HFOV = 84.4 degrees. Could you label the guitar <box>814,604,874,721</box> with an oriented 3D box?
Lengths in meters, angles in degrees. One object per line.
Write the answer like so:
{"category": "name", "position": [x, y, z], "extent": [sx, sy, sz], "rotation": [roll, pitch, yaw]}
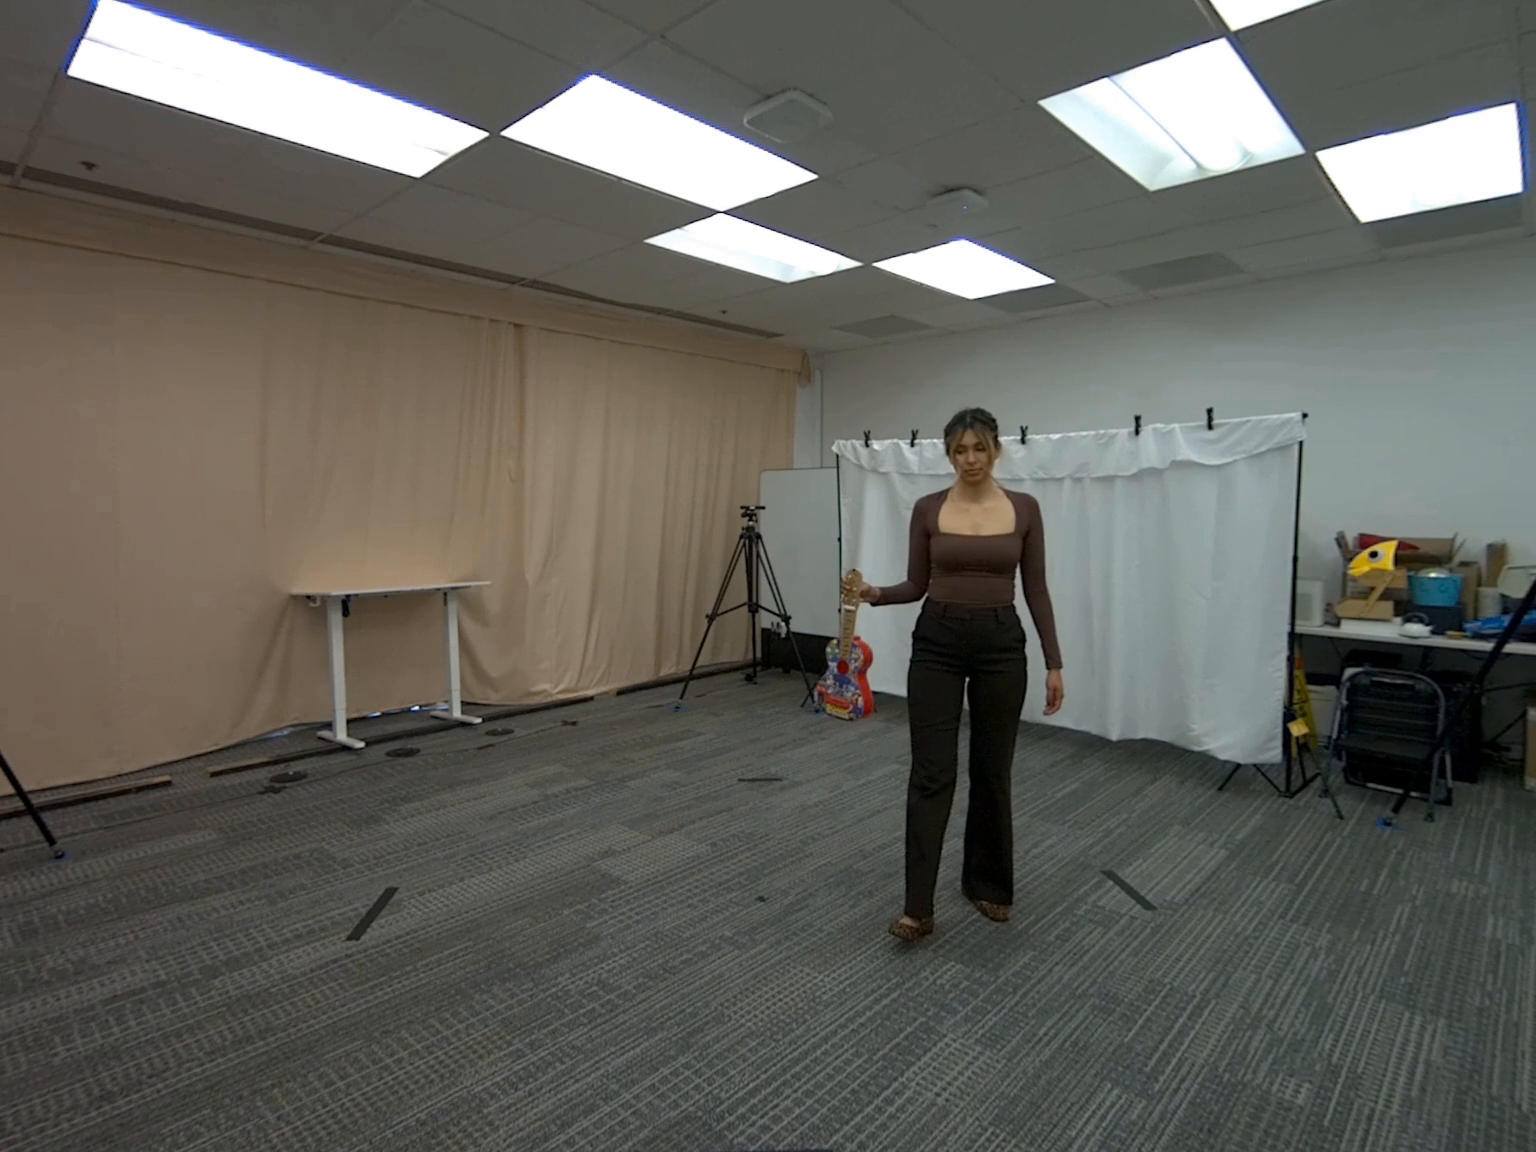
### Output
{"category": "guitar", "position": [0.290, 0.236, 2.750], "extent": [0.200, 0.496, 0.068], "rotation": [21, 13, 37]}
